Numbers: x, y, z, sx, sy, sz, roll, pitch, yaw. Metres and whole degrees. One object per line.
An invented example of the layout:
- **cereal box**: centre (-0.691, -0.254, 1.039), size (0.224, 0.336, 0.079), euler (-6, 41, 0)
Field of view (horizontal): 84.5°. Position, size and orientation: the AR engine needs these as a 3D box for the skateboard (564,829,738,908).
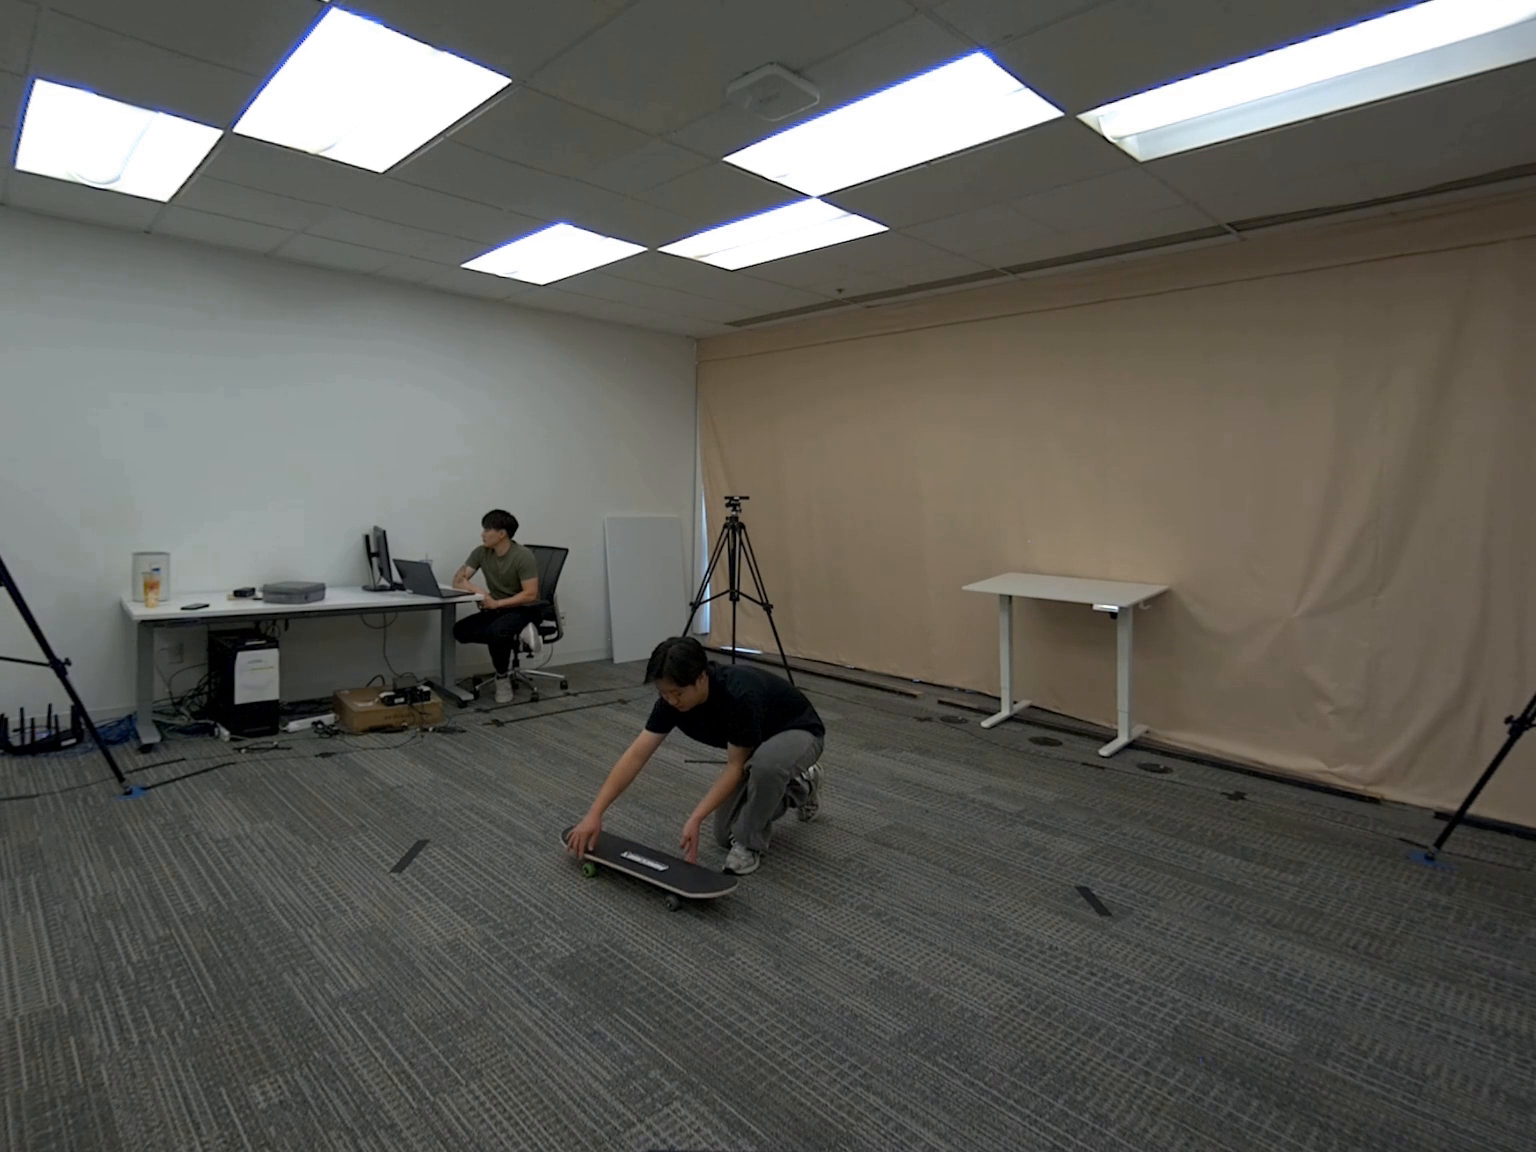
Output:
- **skateboard**: centre (-0.445, 1.045, 3.008), size (0.804, 0.110, 0.189), euler (5, 5, 35)
